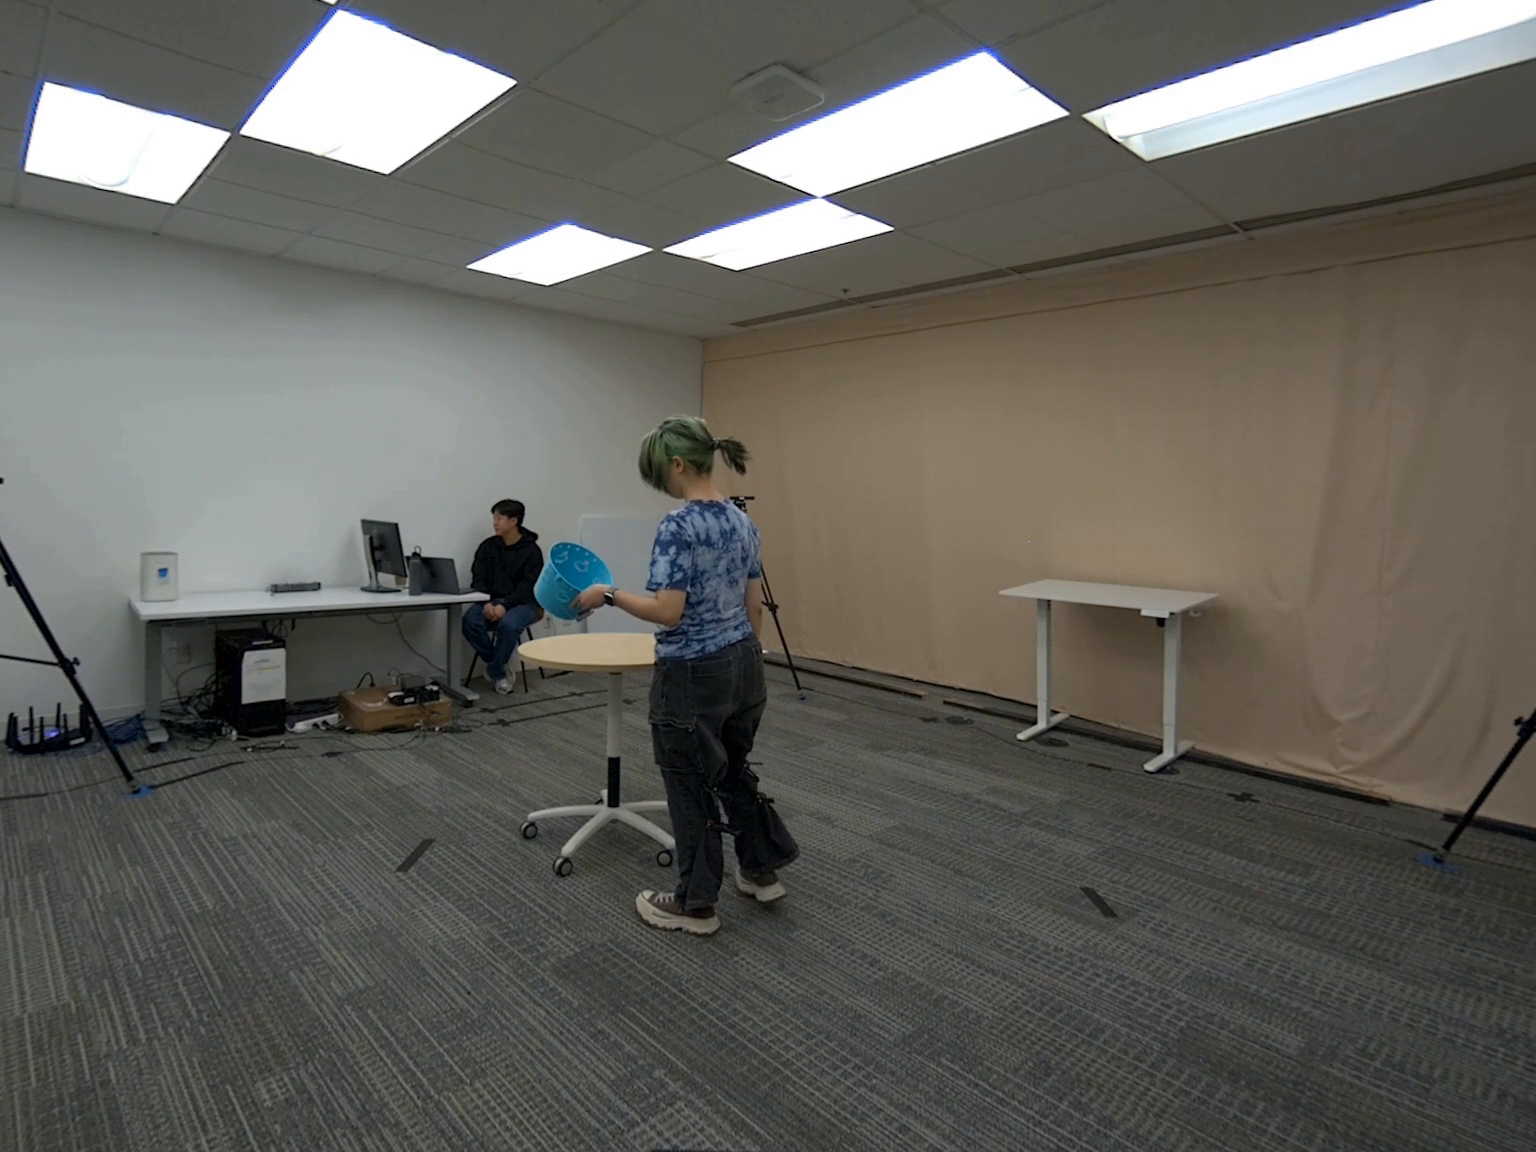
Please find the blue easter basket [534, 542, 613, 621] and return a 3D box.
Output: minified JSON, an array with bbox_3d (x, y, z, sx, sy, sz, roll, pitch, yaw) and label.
[{"bbox_3d":[-0.636,0.037,2.715,0.239,0.156,0.249,30,29,-20],"label":"blue easter basket"}]
